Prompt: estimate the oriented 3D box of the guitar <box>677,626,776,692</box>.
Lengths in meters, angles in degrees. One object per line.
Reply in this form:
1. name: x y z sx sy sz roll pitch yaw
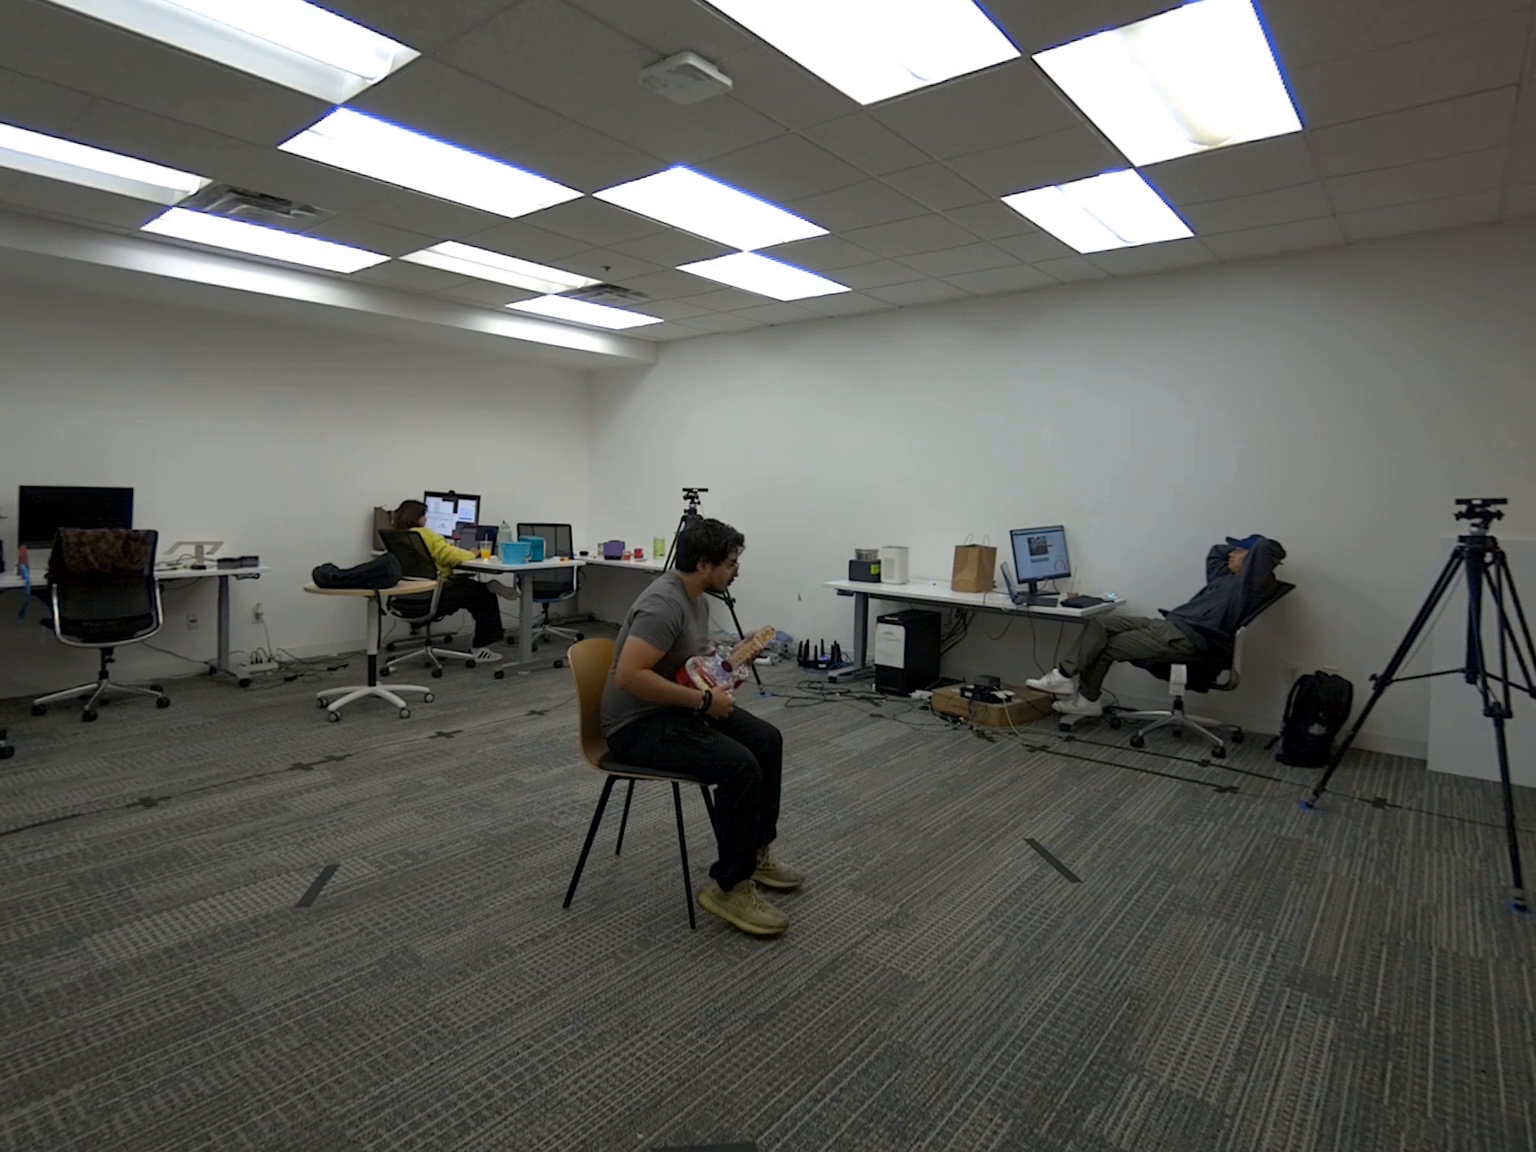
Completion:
1. guitar: -0.104 0.314 2.902 0.487 0.197 0.070 -19 -23 -50
